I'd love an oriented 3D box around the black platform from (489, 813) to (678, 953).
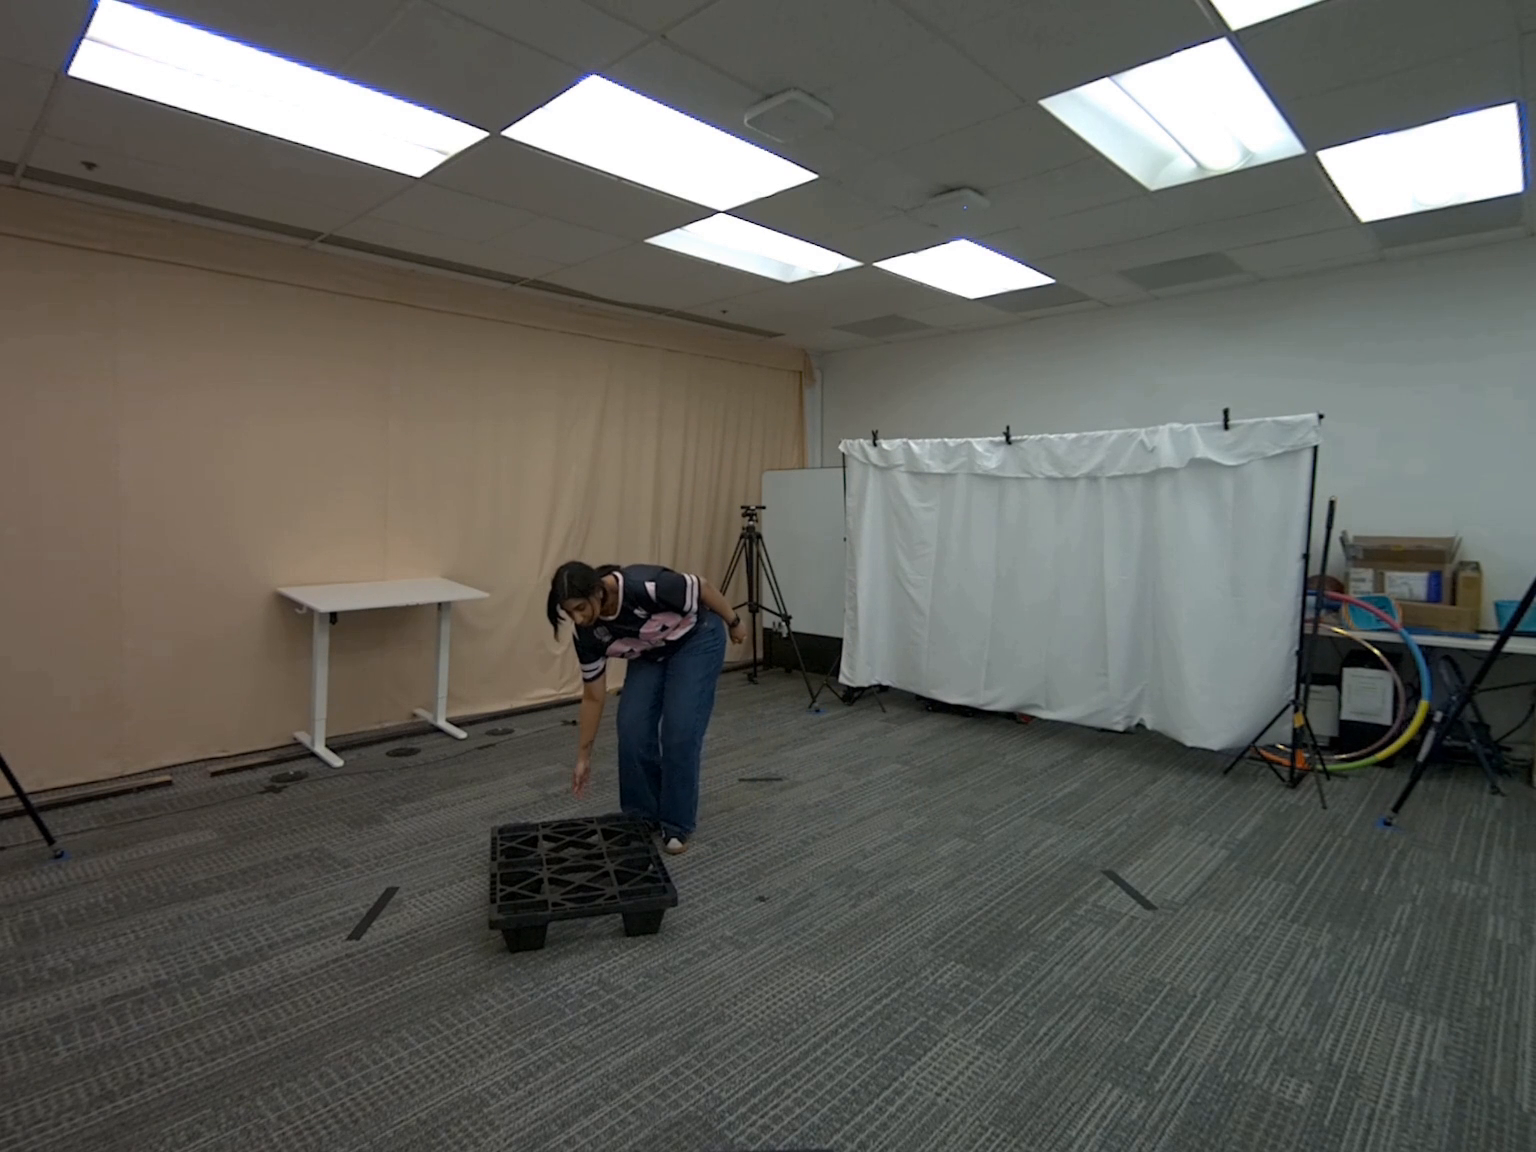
[{"bbox_3d":[-0.694,1.077,3.039,0.595,0.143,0.820,-2,5,-16],"label":"black platform"}]
